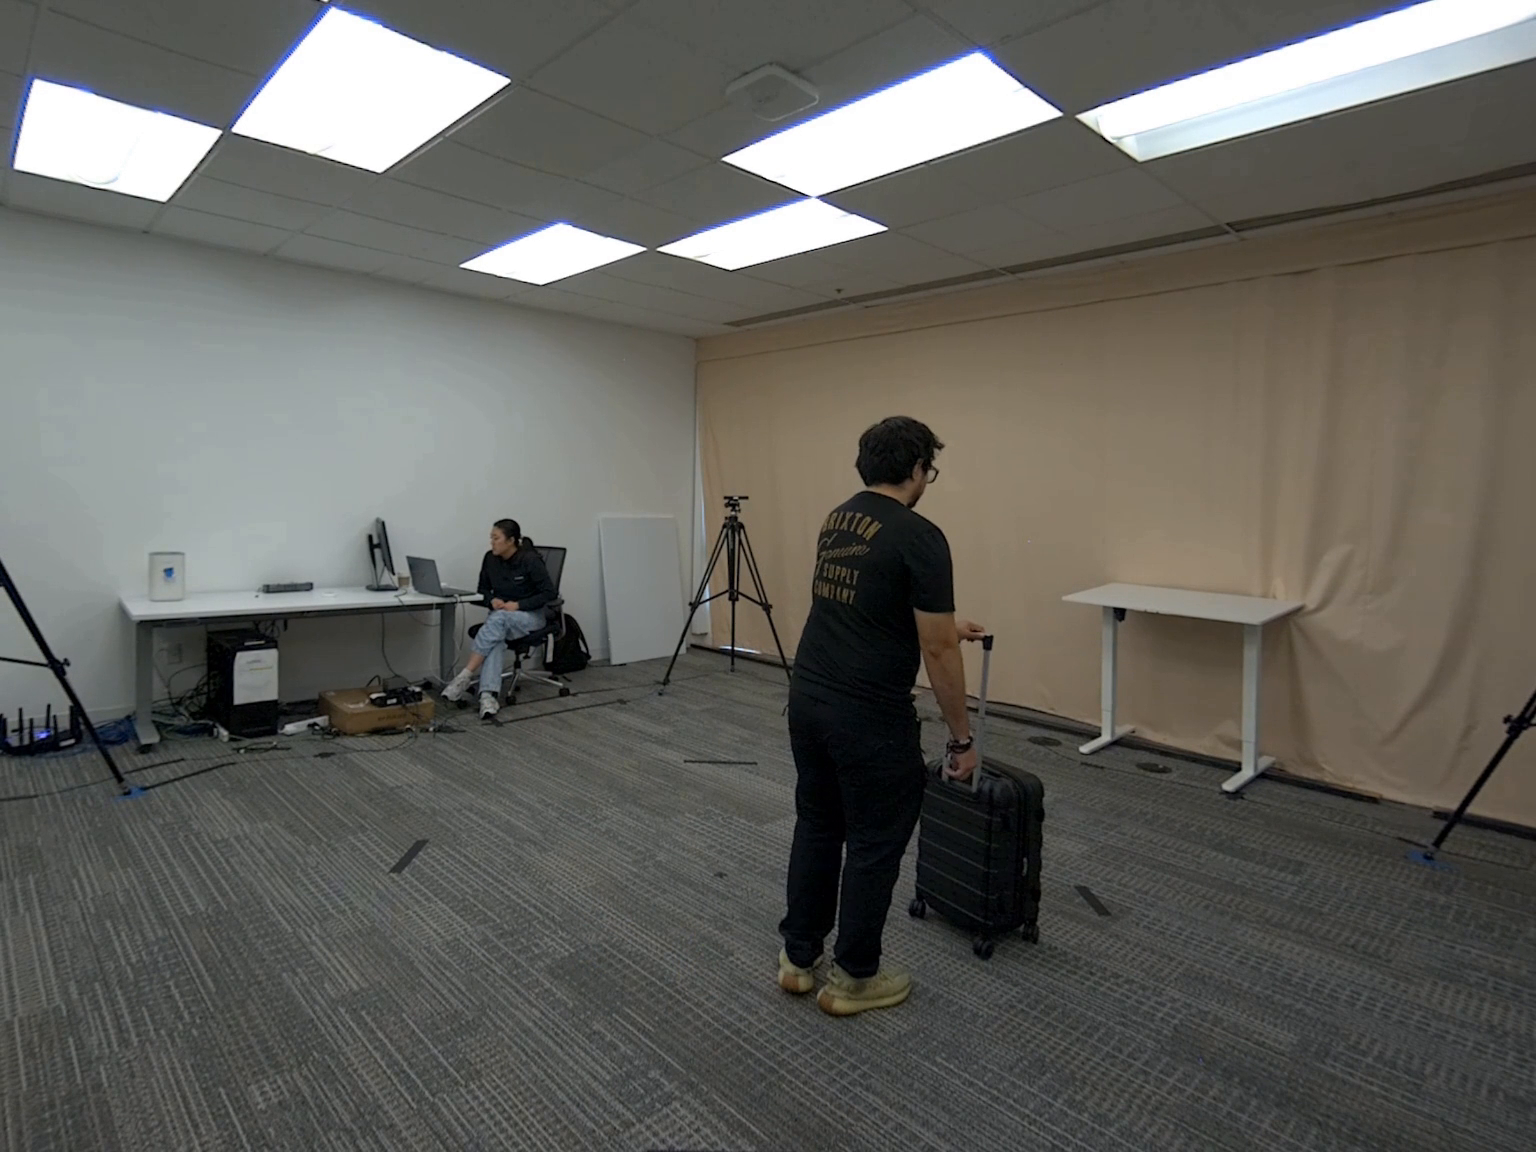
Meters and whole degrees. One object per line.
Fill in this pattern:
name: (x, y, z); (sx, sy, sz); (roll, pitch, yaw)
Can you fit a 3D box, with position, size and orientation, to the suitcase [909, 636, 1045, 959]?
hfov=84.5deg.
suitcase: (0.707, 0.679, 2.765); (0.251, 0.978, 0.392); (4, 1, -30)
